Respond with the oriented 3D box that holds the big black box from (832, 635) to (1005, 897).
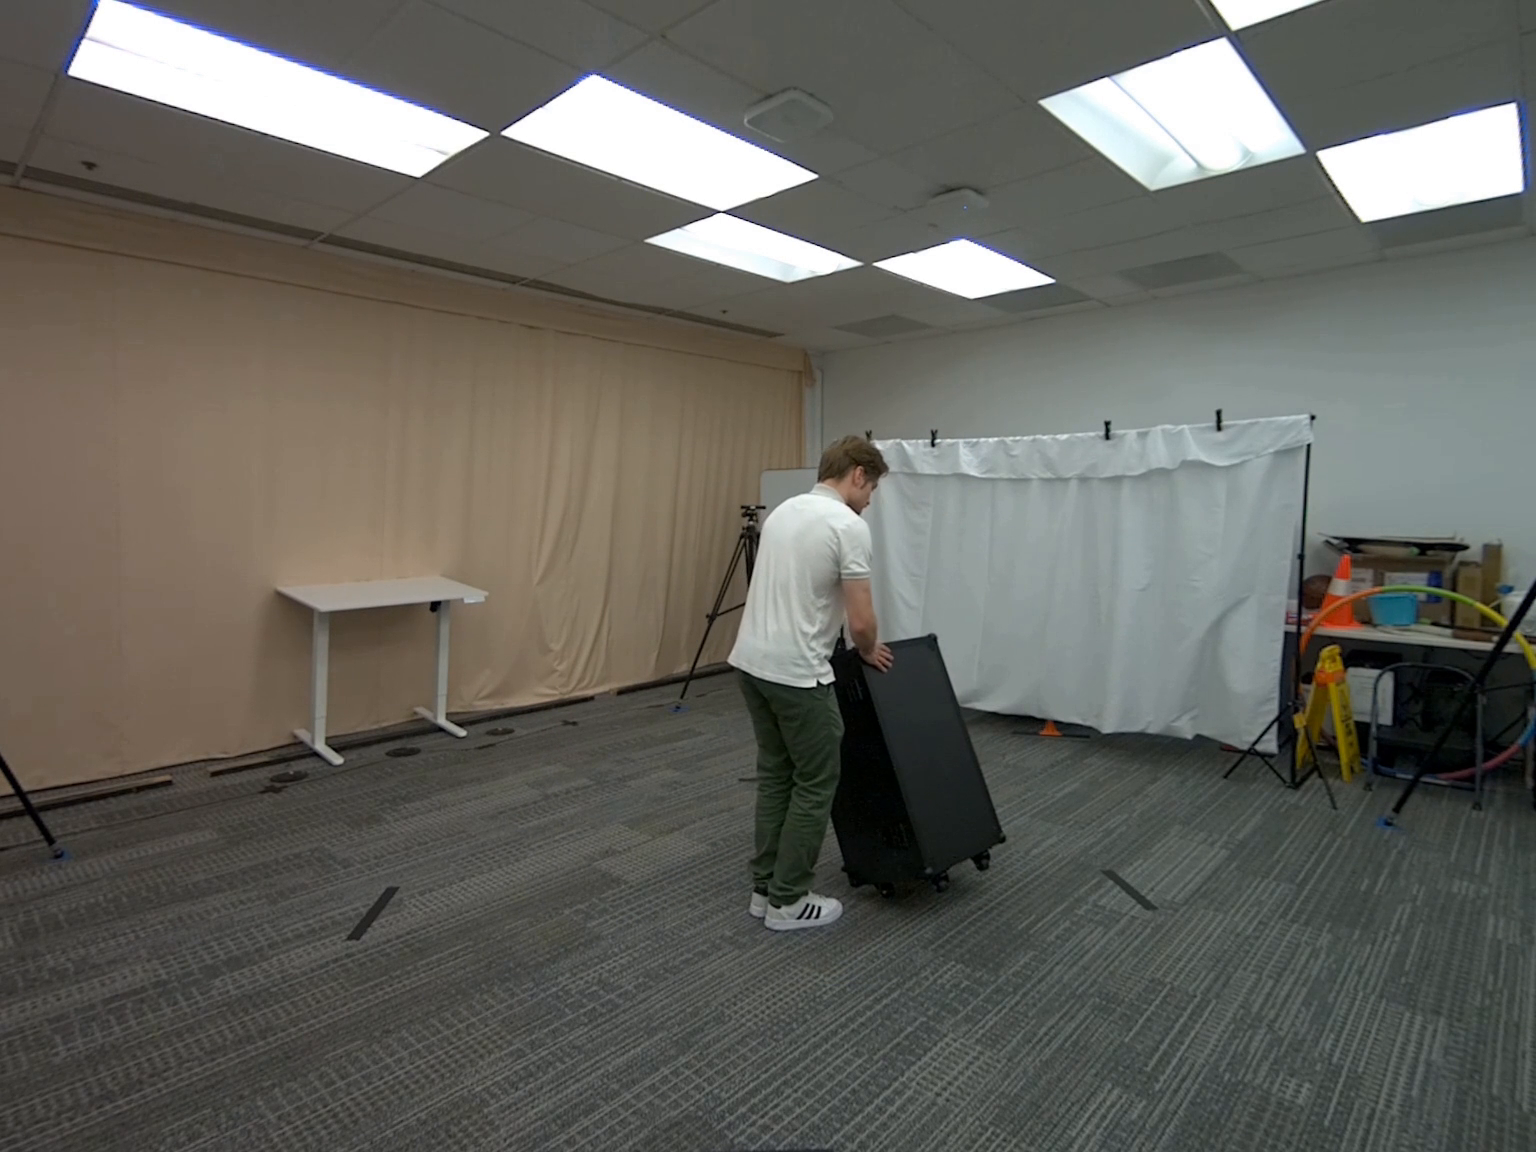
[{"bbox_3d":[0.477,0.696,3.115,0.505,0.872,0.403,-3,-19,-44],"label":"big black box"}]
